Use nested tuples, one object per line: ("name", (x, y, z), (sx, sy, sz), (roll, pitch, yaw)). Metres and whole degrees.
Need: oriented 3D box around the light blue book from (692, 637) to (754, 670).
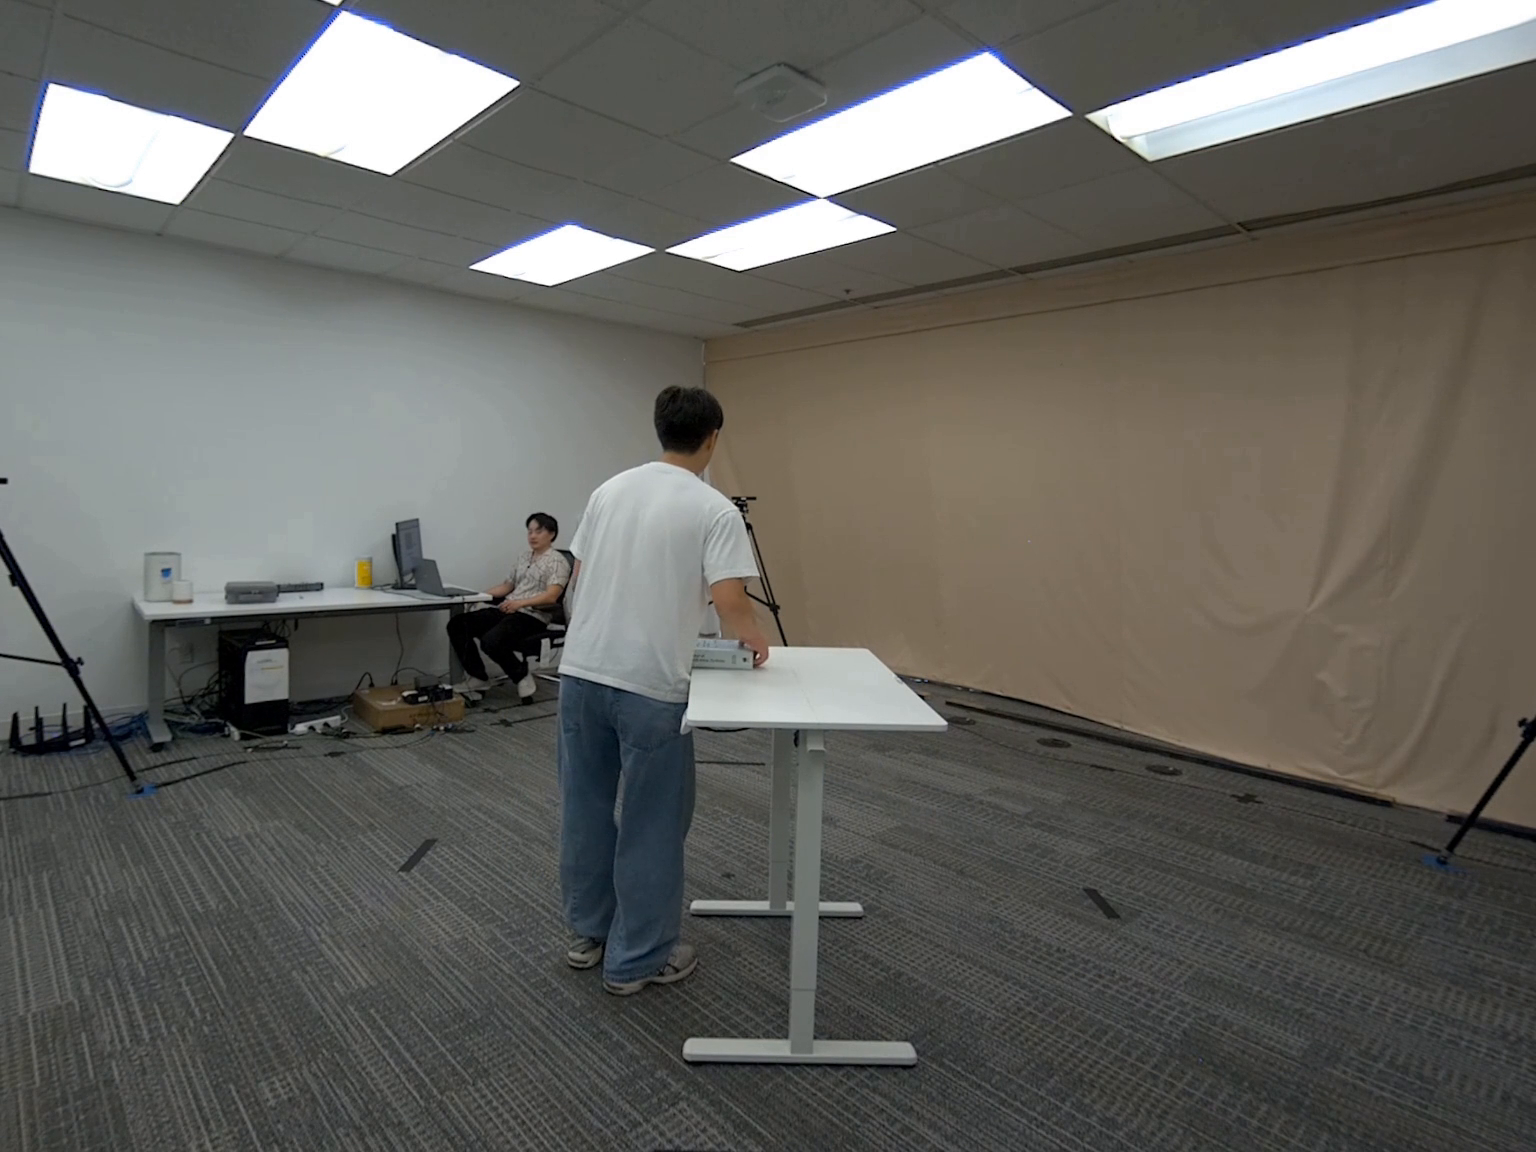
("light blue book", (-0.192, 0.235, 2.594), (0.261, 0.059, 0.192), (3, 9, 1))
